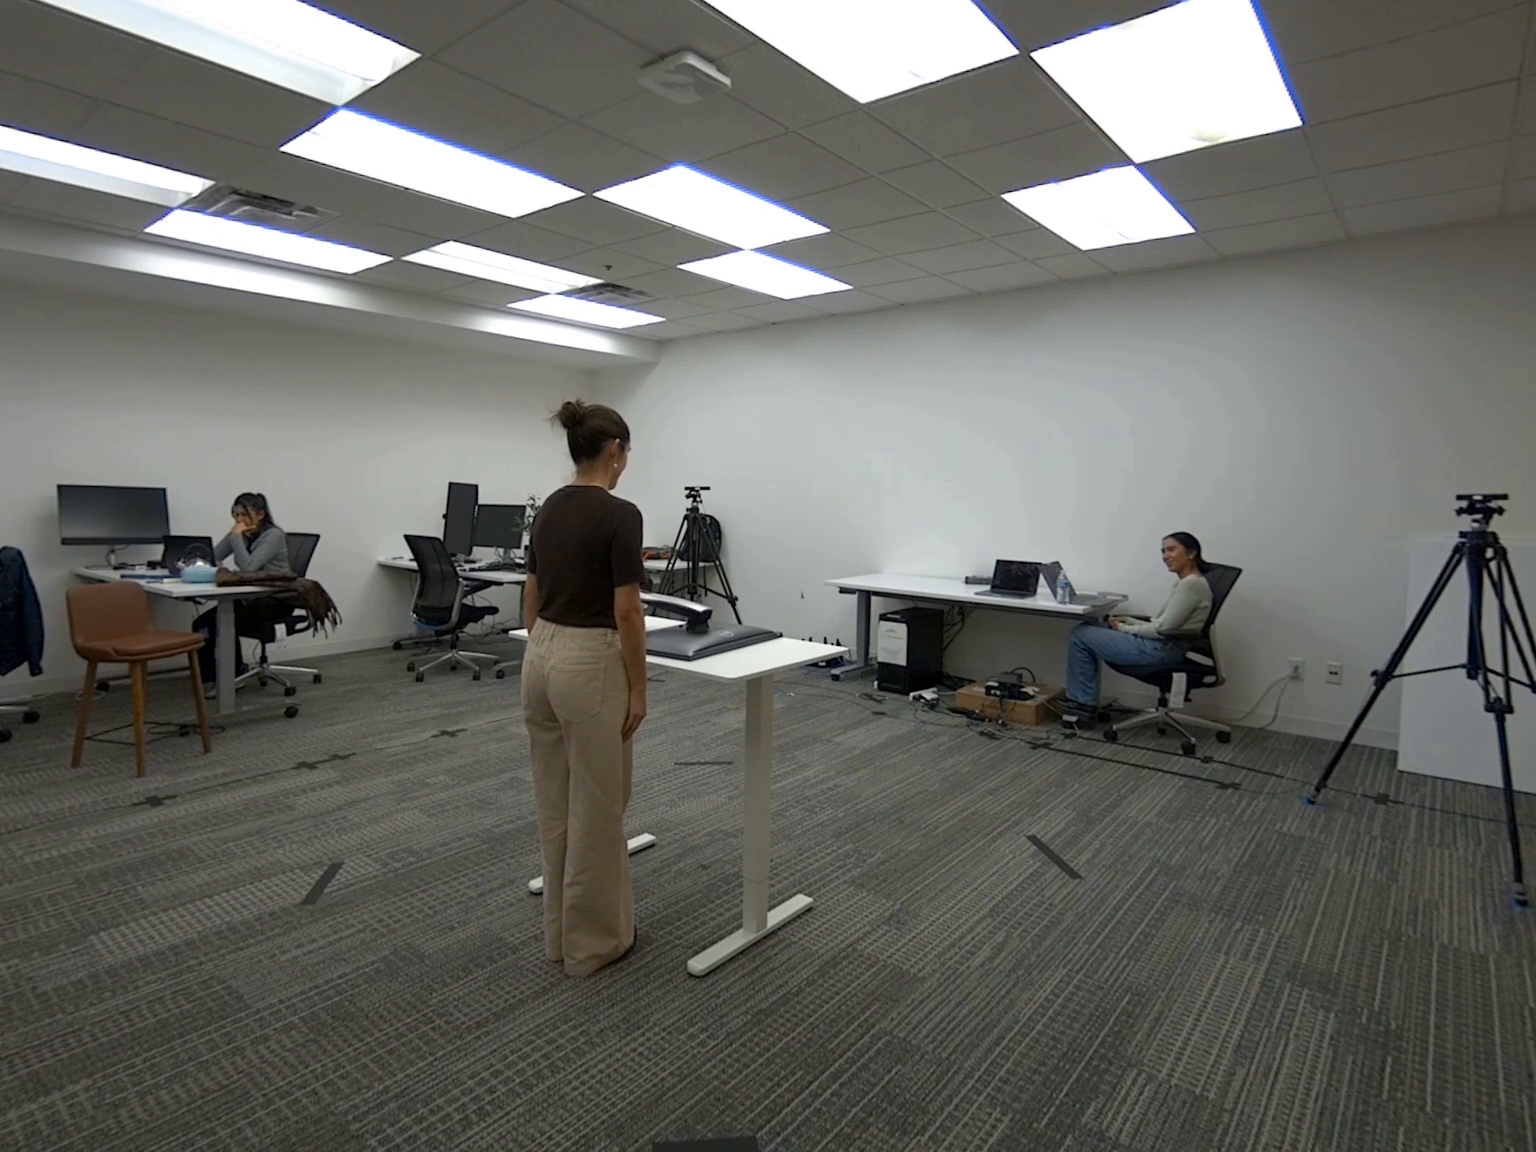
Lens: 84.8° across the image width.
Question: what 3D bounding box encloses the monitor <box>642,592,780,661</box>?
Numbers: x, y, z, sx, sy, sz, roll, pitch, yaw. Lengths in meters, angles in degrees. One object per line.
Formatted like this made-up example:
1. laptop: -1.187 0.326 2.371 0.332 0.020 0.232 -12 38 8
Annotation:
1. monitor: -0.313 0.155 2.846 0.542 0.185 0.525 19 17 32
